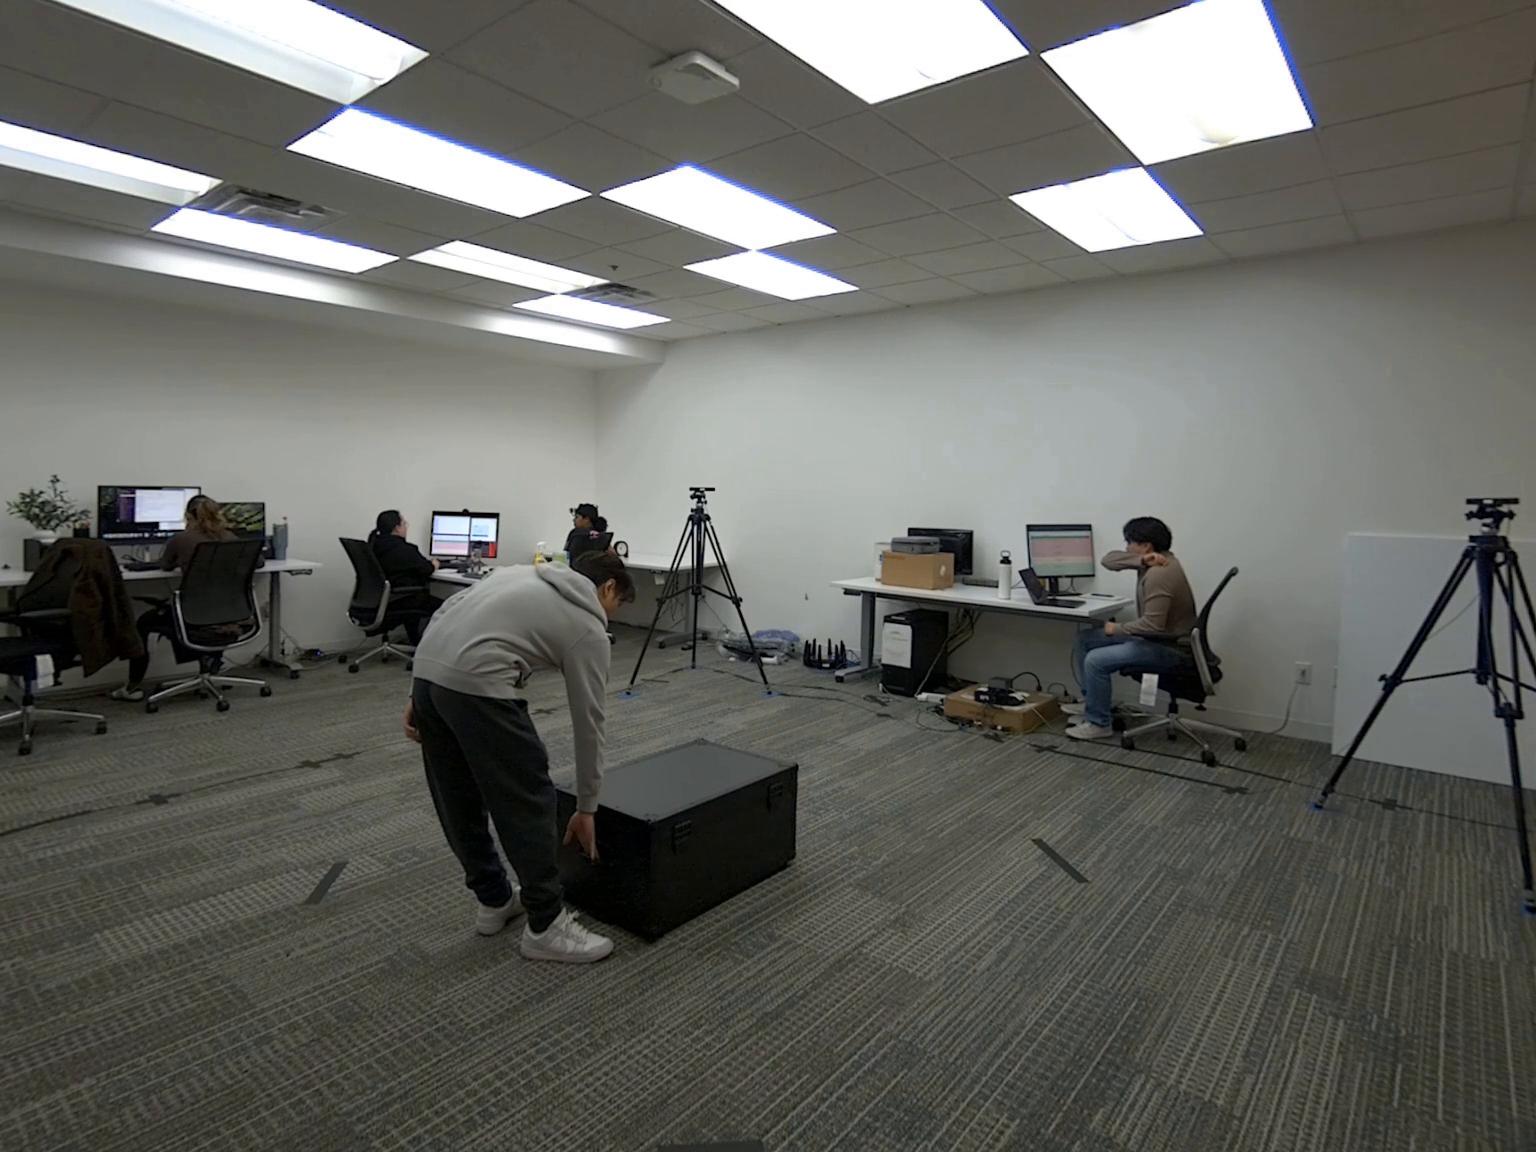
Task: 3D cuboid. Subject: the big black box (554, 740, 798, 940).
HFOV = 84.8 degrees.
[{"bbox_3d":[-0.300,0.882,3.029,0.538,0.395,0.837,5,7,37],"label":"big black box"}]
